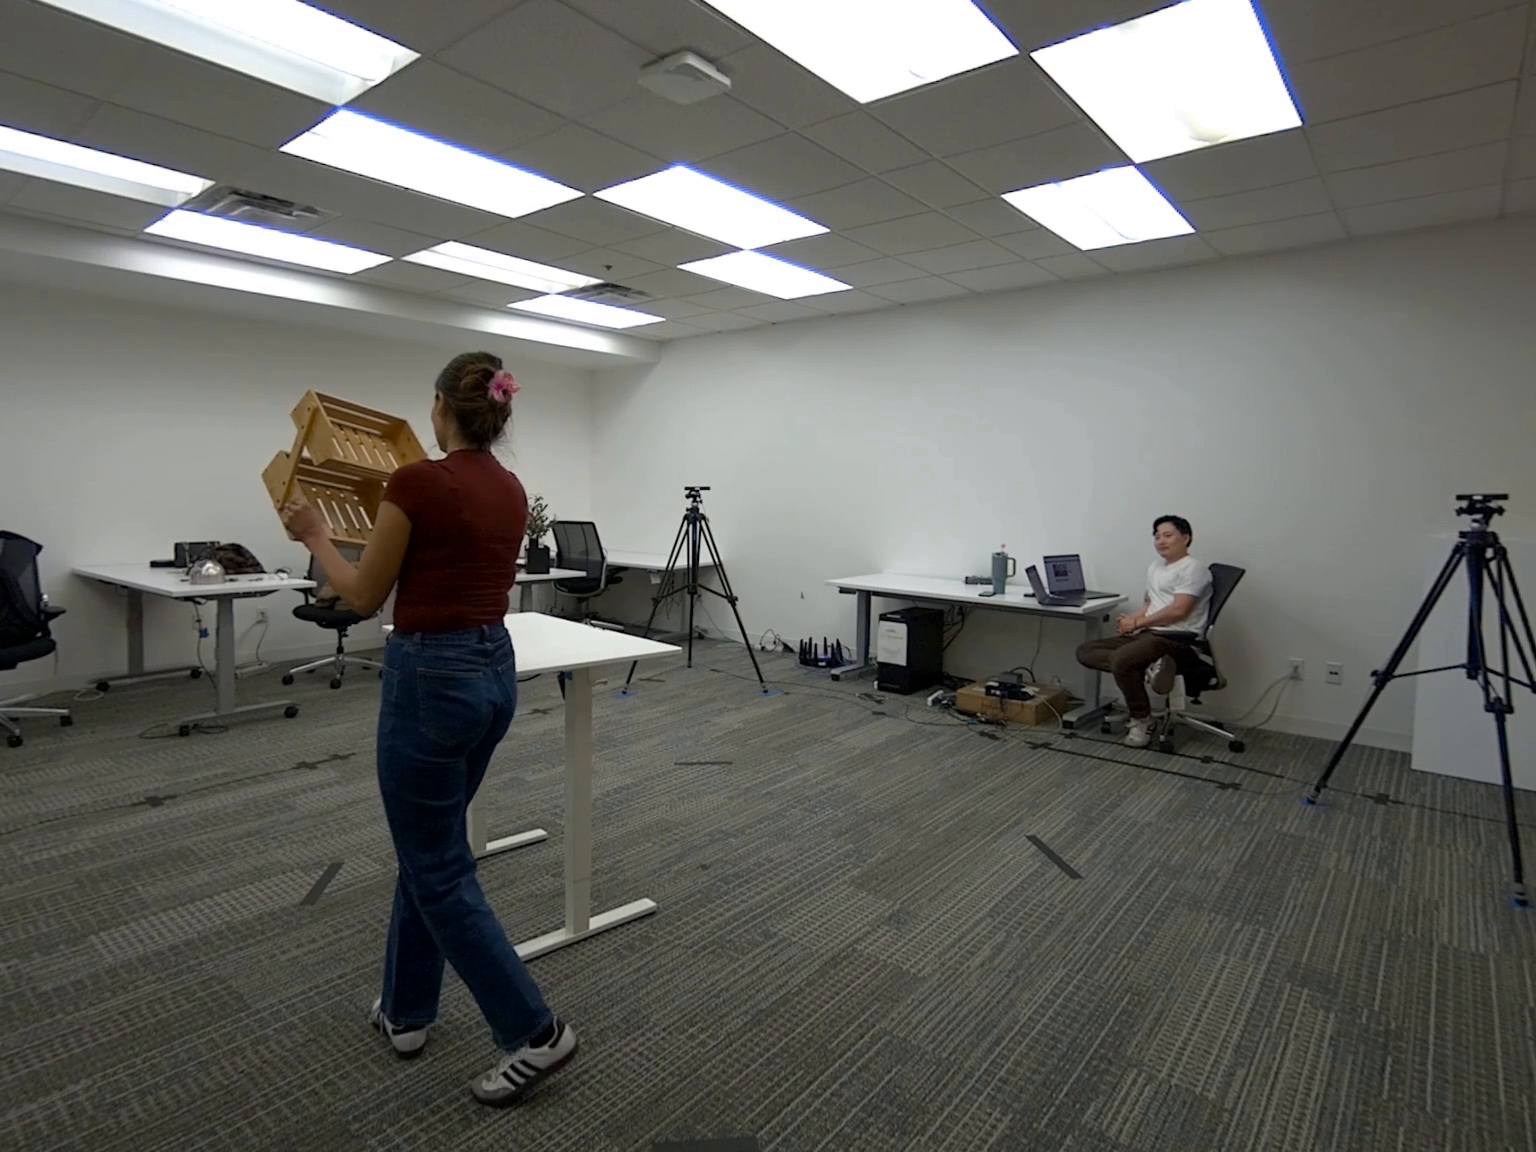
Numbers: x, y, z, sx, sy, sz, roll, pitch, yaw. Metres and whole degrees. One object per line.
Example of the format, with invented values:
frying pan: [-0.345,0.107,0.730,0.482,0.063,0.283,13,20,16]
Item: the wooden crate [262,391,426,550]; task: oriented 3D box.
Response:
wooden crate: [-1.075,-0.256,2.202,0.273,0.312,0.314,-45,-24,17]
